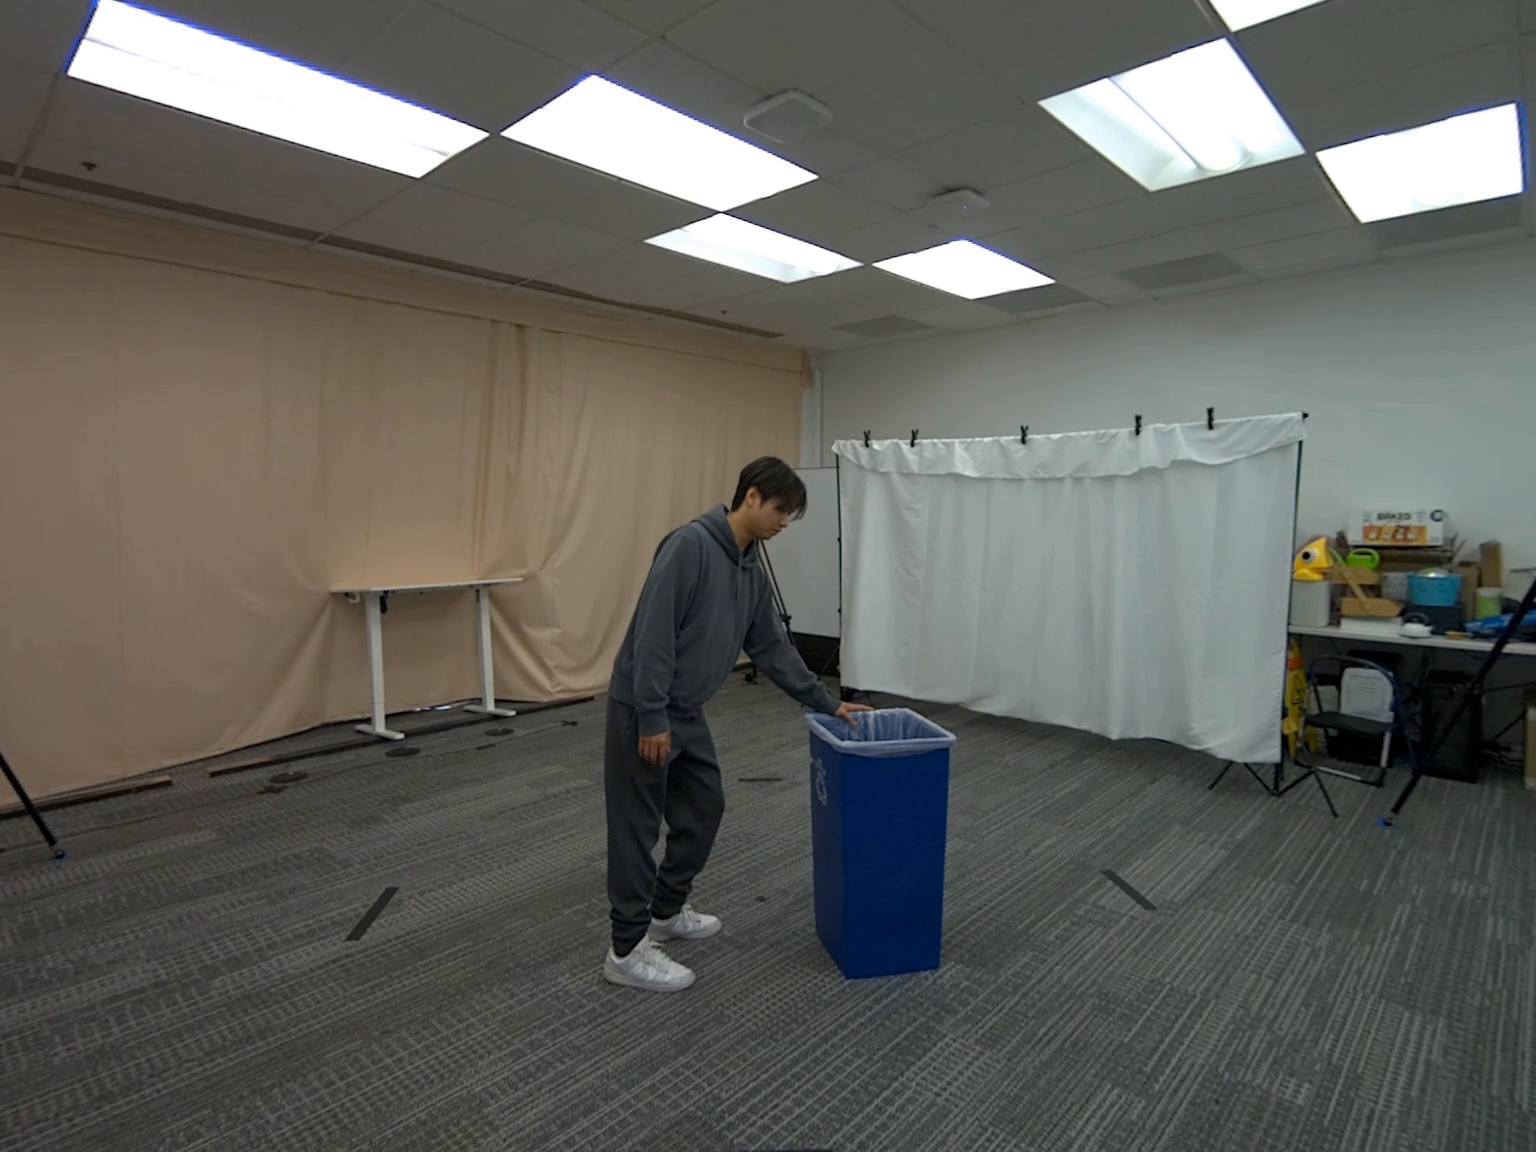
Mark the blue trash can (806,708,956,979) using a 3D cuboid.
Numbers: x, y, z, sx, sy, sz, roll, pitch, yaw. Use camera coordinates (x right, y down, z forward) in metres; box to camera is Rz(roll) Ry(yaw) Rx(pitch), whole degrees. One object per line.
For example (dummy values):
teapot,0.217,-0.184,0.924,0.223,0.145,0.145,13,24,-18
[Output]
blue trash can,0.349,0.822,2.619,0.373,0.712,0.380,0,3,-13
